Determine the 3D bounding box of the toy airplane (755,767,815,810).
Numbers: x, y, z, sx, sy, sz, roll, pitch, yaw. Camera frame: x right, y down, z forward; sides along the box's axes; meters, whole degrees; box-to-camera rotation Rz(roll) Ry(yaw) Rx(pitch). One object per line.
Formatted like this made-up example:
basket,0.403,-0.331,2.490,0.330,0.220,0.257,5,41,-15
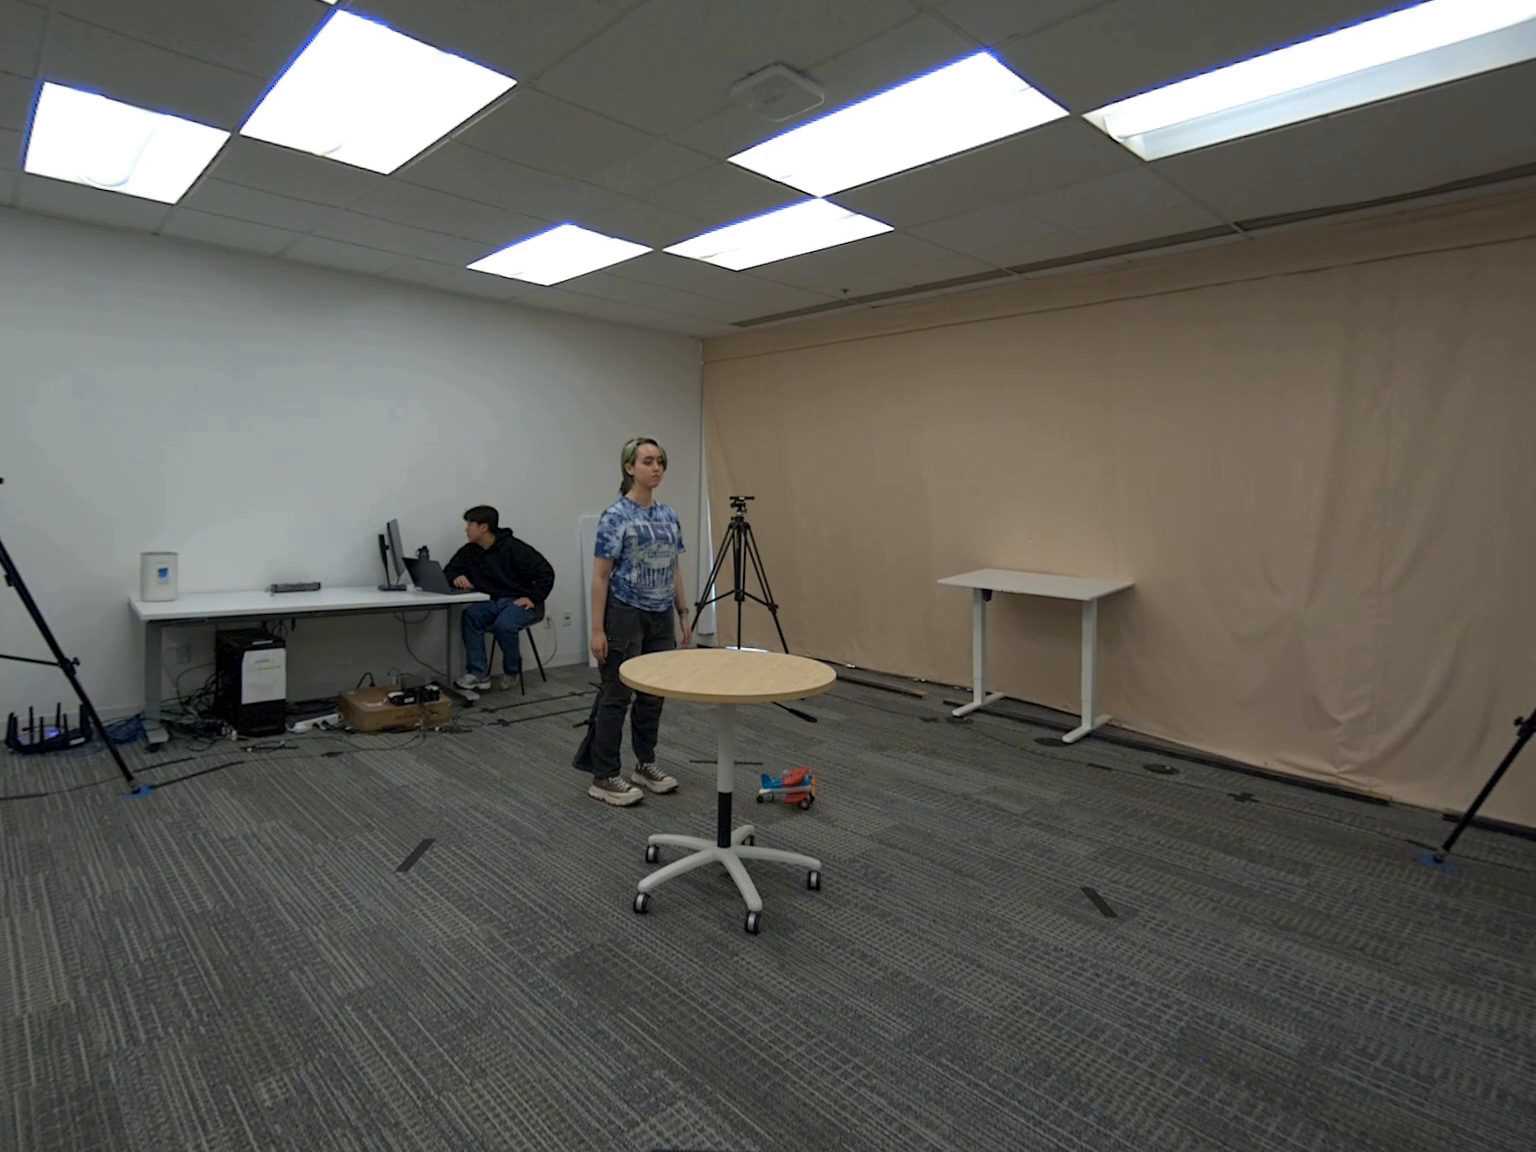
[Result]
toy airplane,0.080,0.973,3.836,0.257,0.156,0.254,2,3,-12
